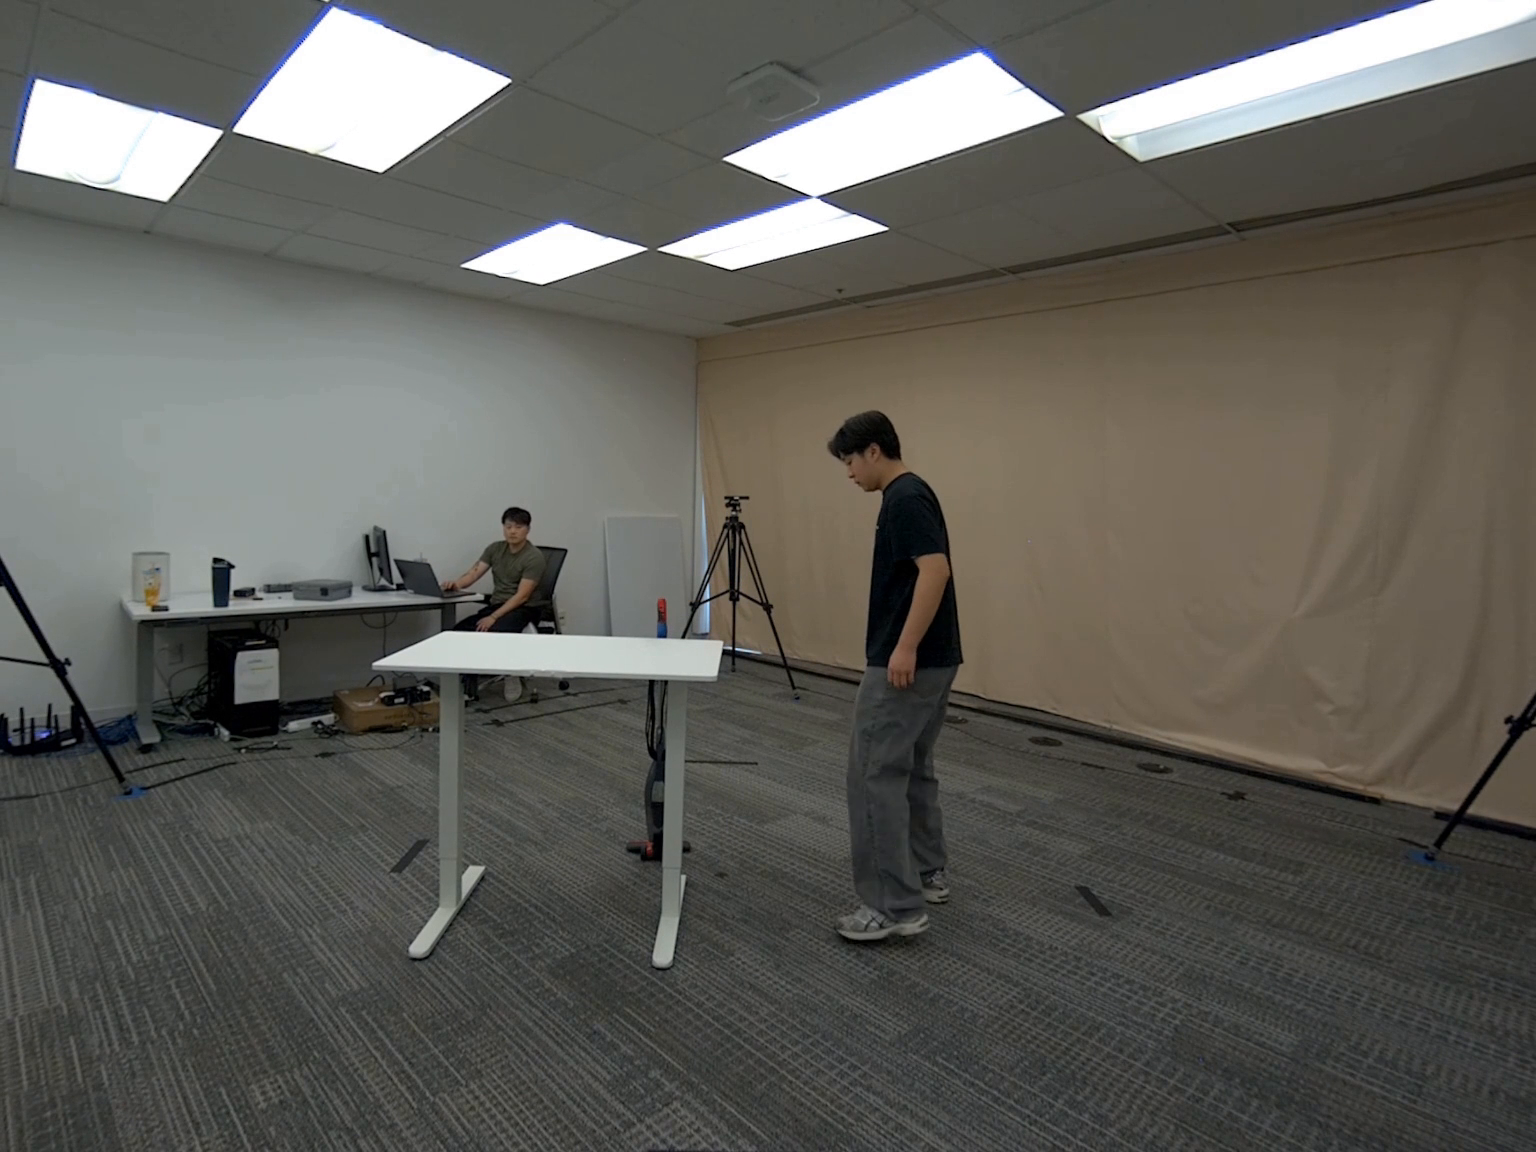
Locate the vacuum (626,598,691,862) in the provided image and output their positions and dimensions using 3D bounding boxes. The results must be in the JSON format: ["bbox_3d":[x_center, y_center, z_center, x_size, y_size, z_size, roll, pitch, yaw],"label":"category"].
[{"bbox_3d":[-0.405,0.580,3.126,0.252,1.037,0.146,2,16,-4],"label":"vacuum"}]
